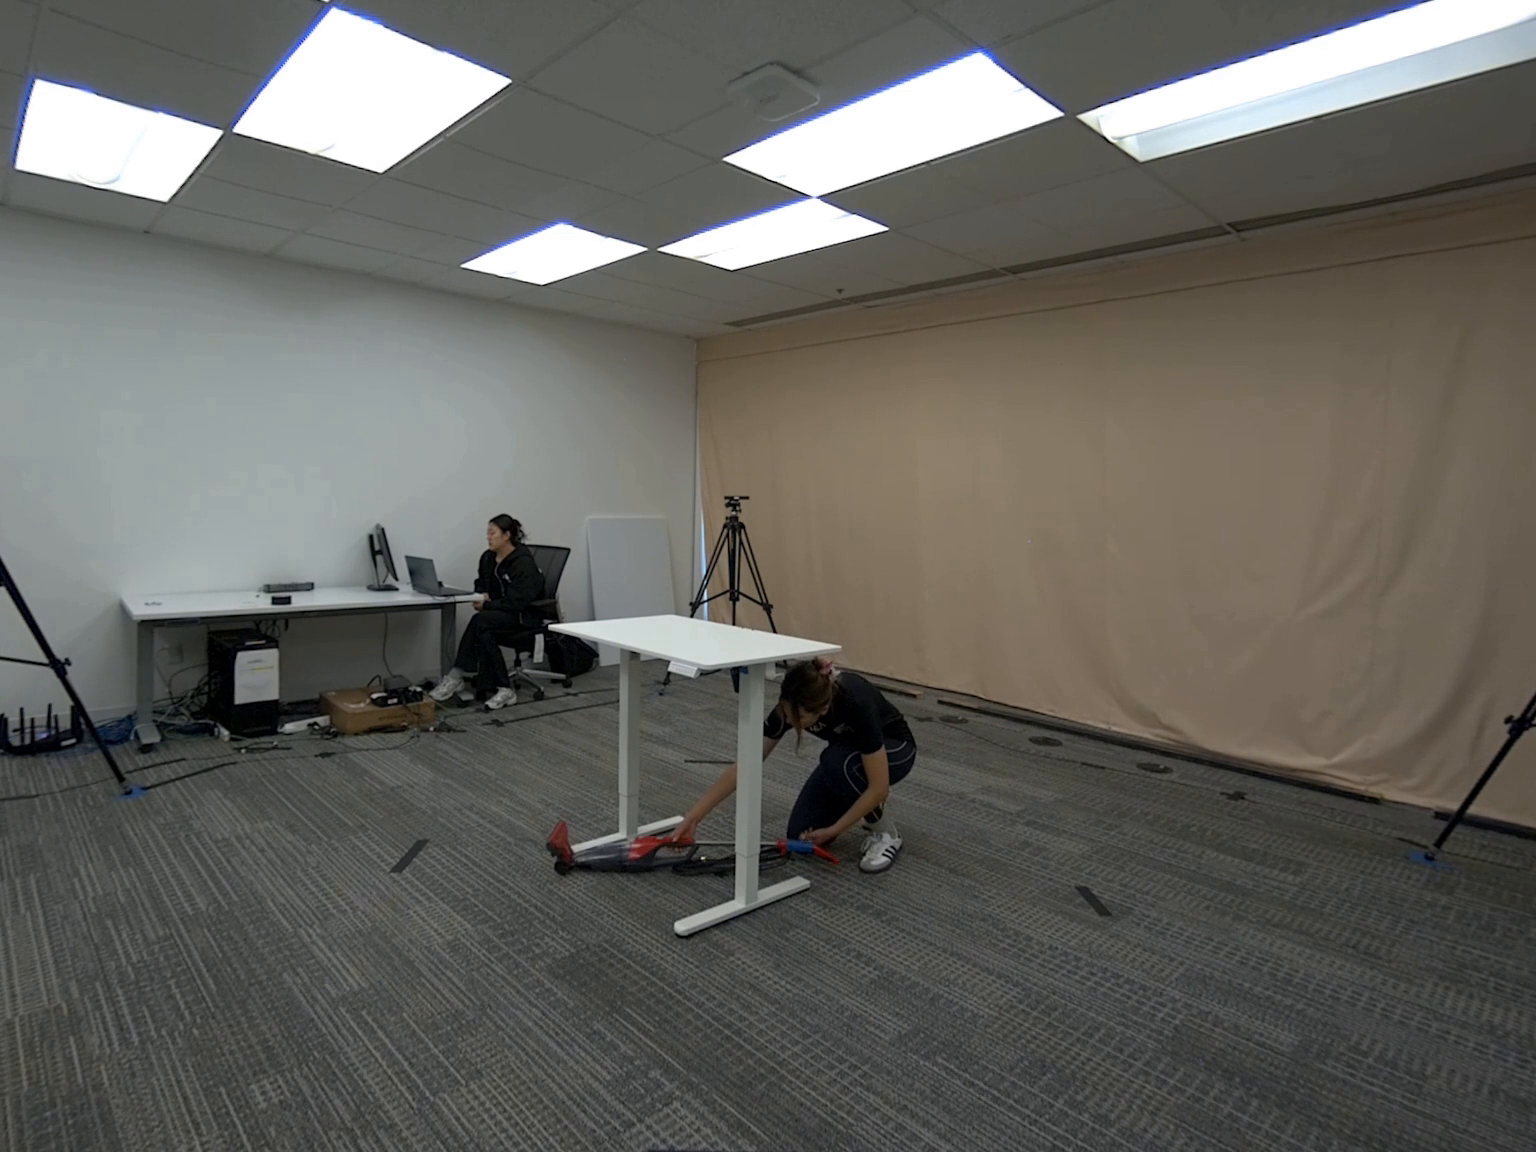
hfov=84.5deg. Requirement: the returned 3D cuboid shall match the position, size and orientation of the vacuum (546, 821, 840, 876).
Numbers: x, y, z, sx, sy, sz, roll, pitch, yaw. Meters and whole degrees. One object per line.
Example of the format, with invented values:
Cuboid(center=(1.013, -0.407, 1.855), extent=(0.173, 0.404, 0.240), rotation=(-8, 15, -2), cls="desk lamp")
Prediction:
Cuboid(center=(-0.274, 1.030, 3.126), extent=(1.049, 0.144, 0.253), rotation=(3, 1, -1), cls="vacuum")
